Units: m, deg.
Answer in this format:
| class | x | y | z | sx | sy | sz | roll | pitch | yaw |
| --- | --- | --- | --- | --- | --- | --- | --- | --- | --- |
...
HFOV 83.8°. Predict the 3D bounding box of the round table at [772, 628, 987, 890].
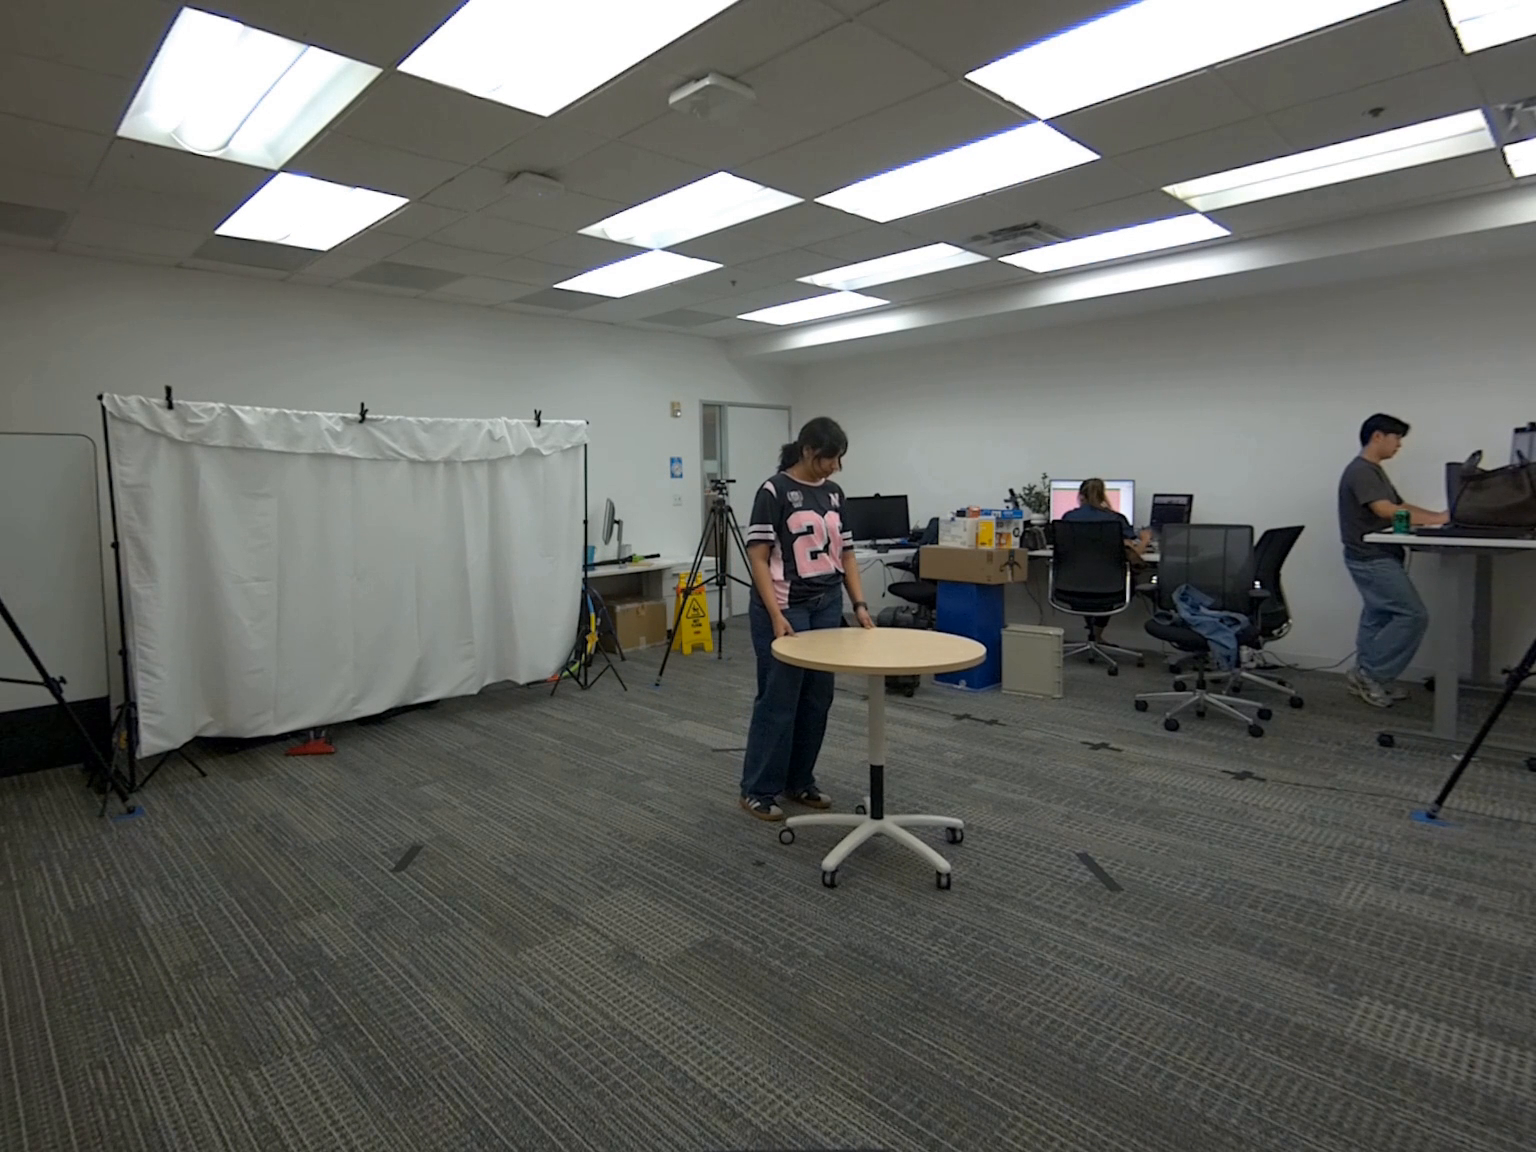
| class | x | y | z | sx | sy | sz | roll | pitch | yaw |
| --- | --- | --- | --- | --- | --- | --- | --- | --- | --- |
| round table | 0.401 | 0.647 | 3.138 | 0.763 | 0.791 | 0.768 | -1 | 4 | -2 |
